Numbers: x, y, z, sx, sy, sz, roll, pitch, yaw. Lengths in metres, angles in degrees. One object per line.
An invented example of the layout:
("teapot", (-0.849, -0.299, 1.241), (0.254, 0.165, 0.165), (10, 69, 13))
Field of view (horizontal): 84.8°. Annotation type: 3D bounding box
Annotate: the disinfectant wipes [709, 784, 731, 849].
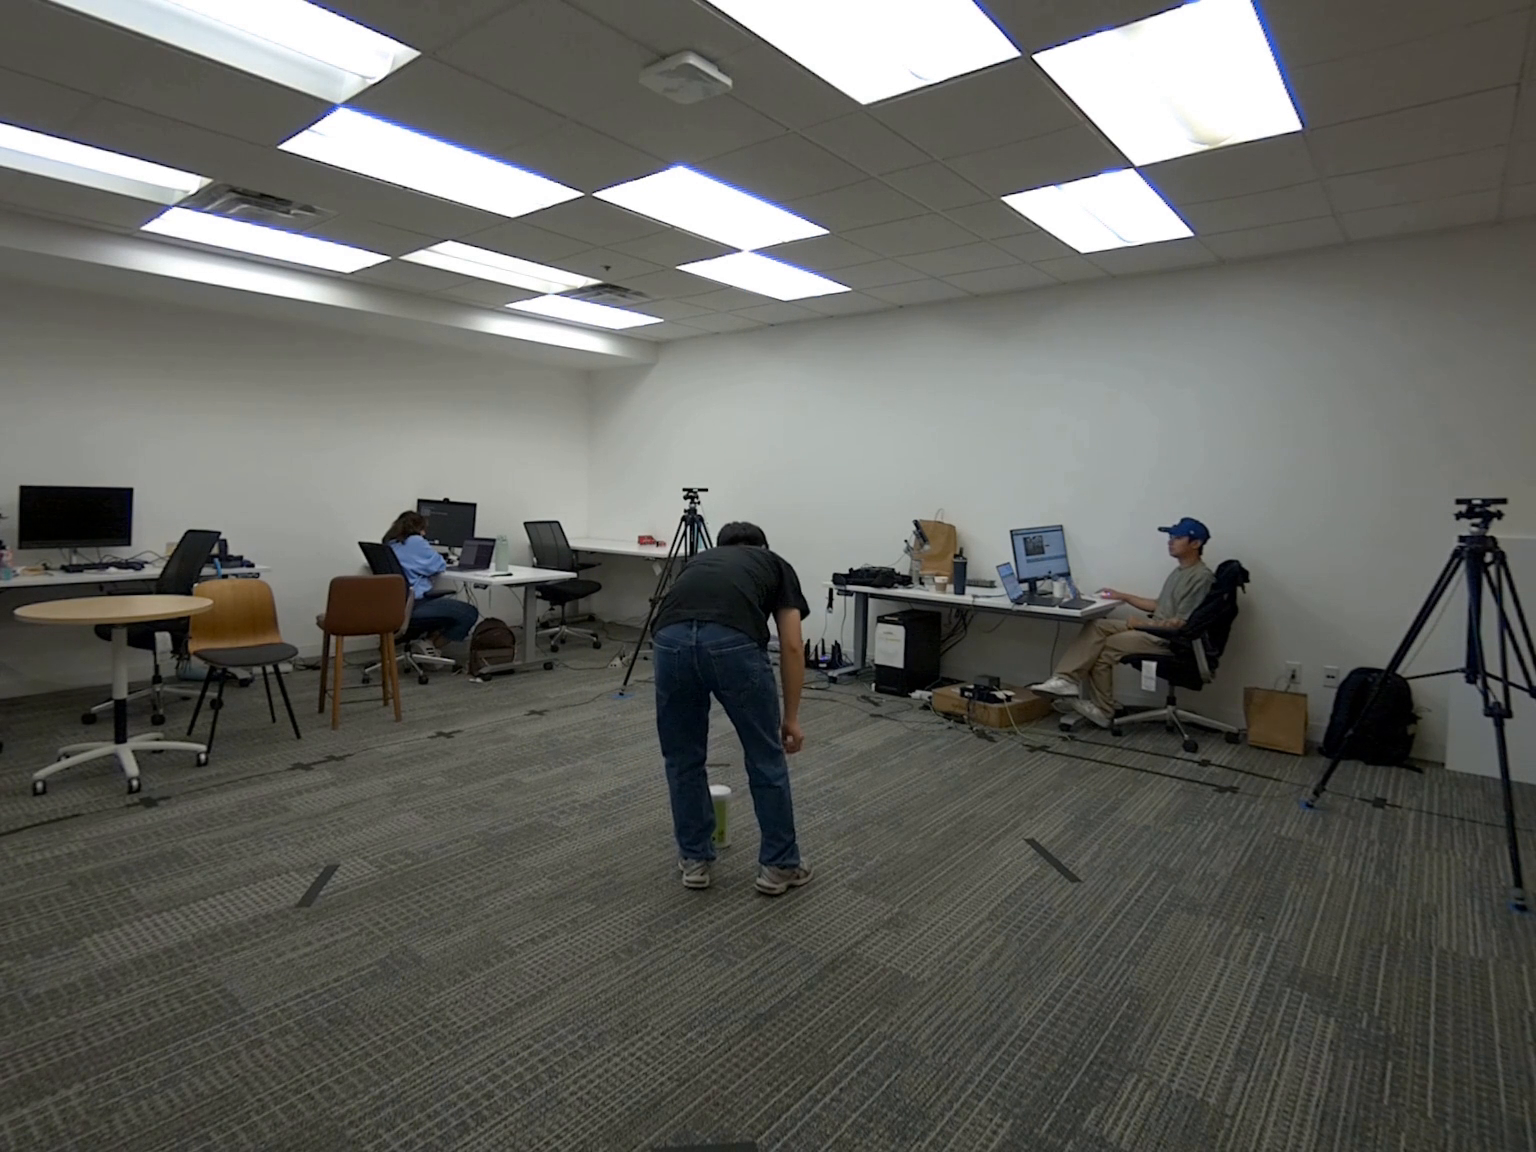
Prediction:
("disinfectant wipes", (-0.204, 0.938, 3.344), (0.118, 0.217, 0.118), (-1, 2, -2))
